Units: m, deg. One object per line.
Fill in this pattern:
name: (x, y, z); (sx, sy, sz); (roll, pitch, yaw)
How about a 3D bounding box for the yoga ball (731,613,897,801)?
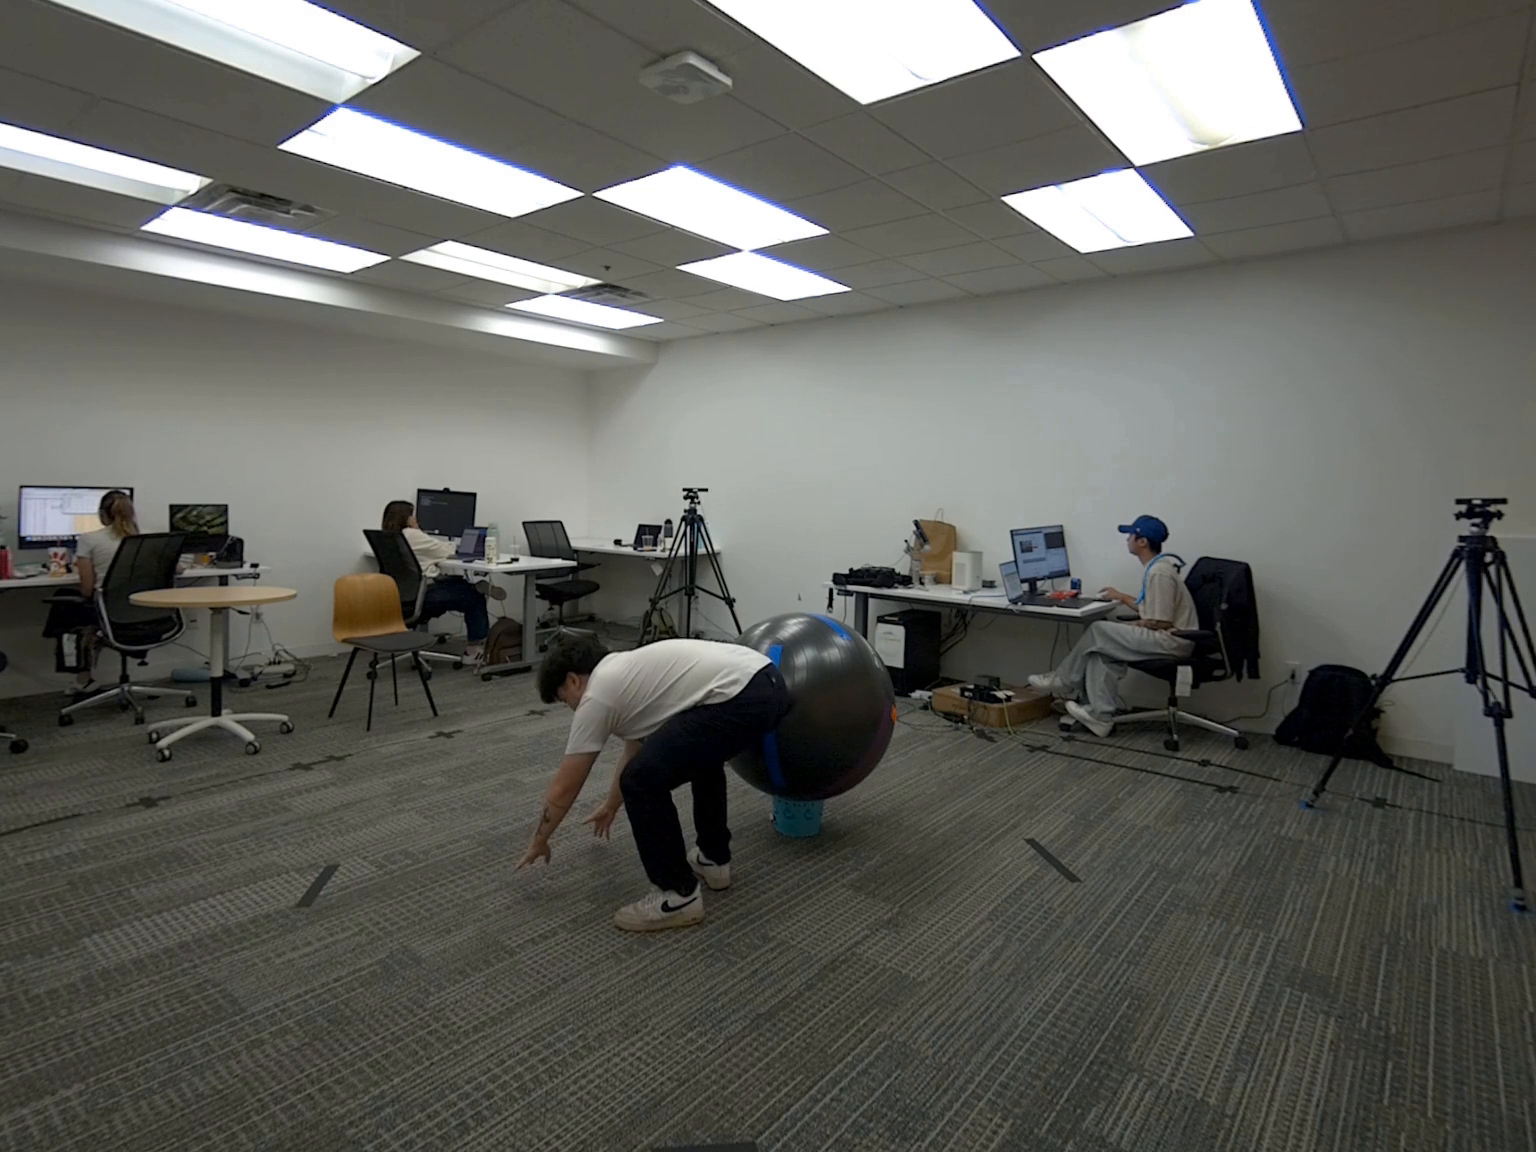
yoga ball: (0.127, 0.528, 3.482); (0.757, 0.755, 0.762); (1, 4, -2)
